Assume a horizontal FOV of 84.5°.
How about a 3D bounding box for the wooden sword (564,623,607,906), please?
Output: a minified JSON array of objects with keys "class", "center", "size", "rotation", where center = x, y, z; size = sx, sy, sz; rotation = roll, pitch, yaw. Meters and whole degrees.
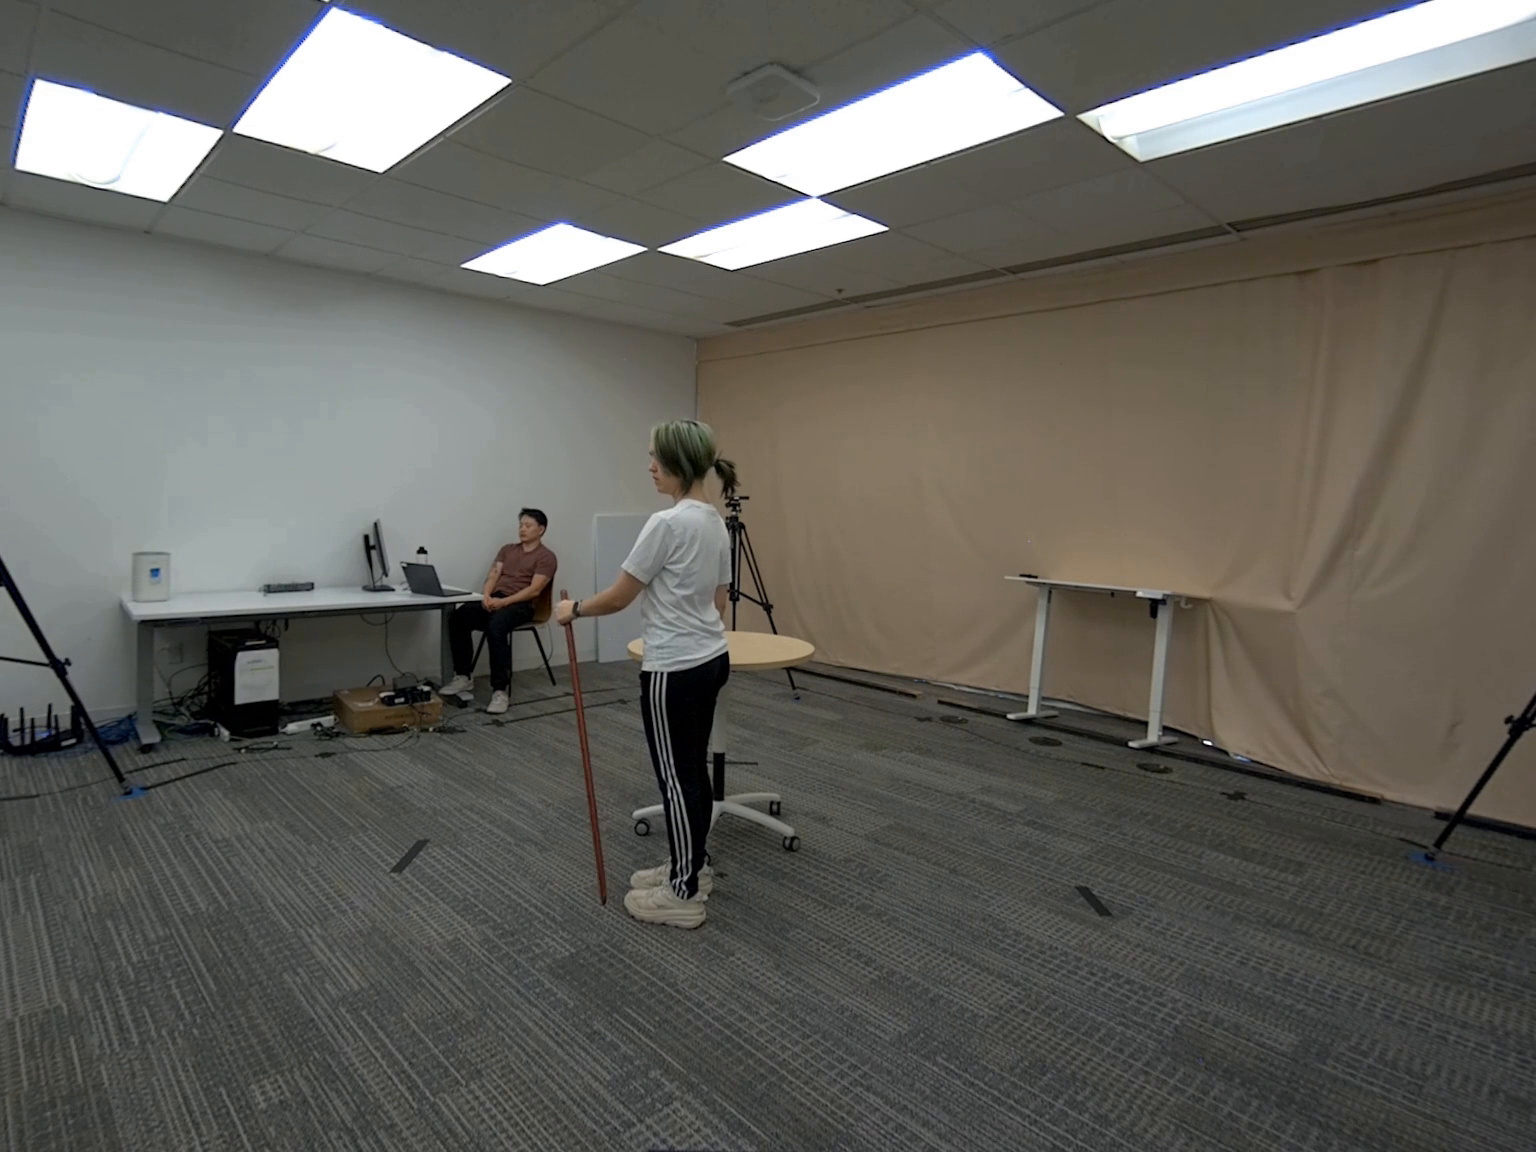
[{"class":"wooden sword","center":[-0.592,0.530,2.701],"size":[0.023,1.048,0.051],"rotation":[5,-33,-36]}]
